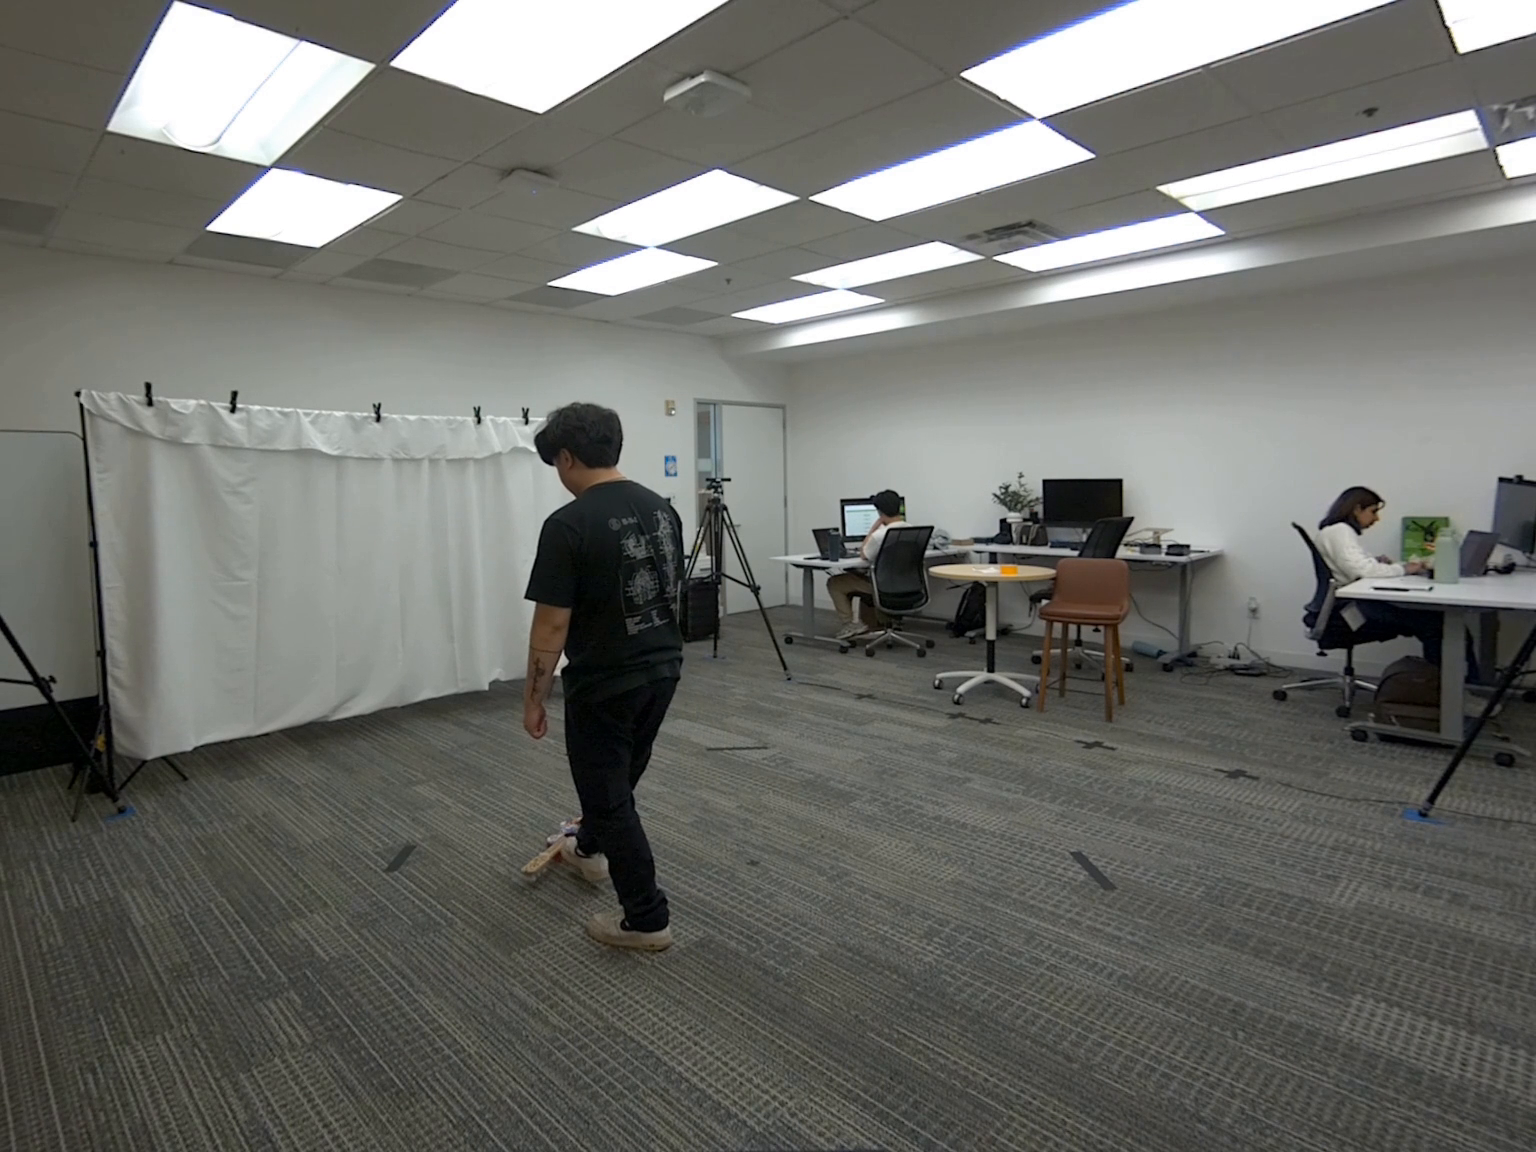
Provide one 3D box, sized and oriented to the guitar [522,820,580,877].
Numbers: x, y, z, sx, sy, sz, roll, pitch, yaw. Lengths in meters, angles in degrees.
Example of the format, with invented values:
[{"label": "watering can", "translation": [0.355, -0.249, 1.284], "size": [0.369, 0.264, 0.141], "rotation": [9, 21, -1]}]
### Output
[{"label": "guitar", "translation": [-0.789, 1.014, 3.175], "size": [0.197, 0.070, 0.489], "rotation": [1, 7, 24]}]
